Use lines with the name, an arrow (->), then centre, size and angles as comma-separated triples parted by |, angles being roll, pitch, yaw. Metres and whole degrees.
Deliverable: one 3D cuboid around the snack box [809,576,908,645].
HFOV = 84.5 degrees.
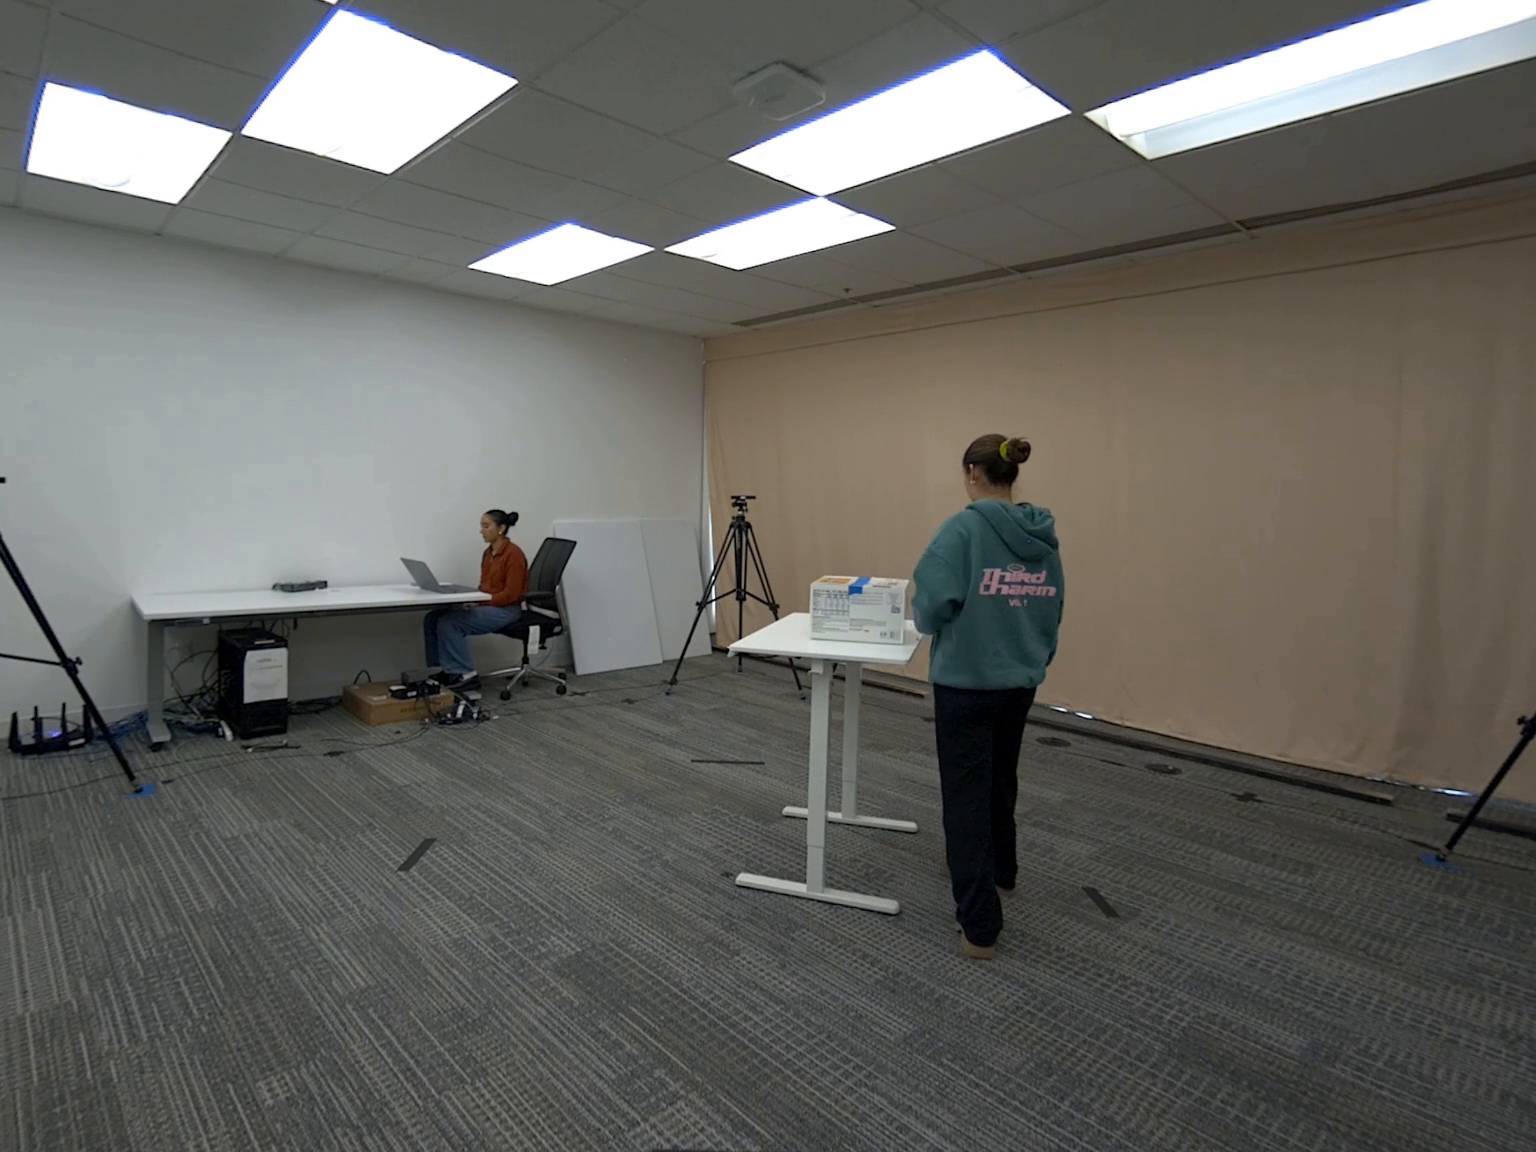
snack box -> 0.351, 0.122, 3.213 | 0.344, 0.205, 0.401 | 3, 4, 13
